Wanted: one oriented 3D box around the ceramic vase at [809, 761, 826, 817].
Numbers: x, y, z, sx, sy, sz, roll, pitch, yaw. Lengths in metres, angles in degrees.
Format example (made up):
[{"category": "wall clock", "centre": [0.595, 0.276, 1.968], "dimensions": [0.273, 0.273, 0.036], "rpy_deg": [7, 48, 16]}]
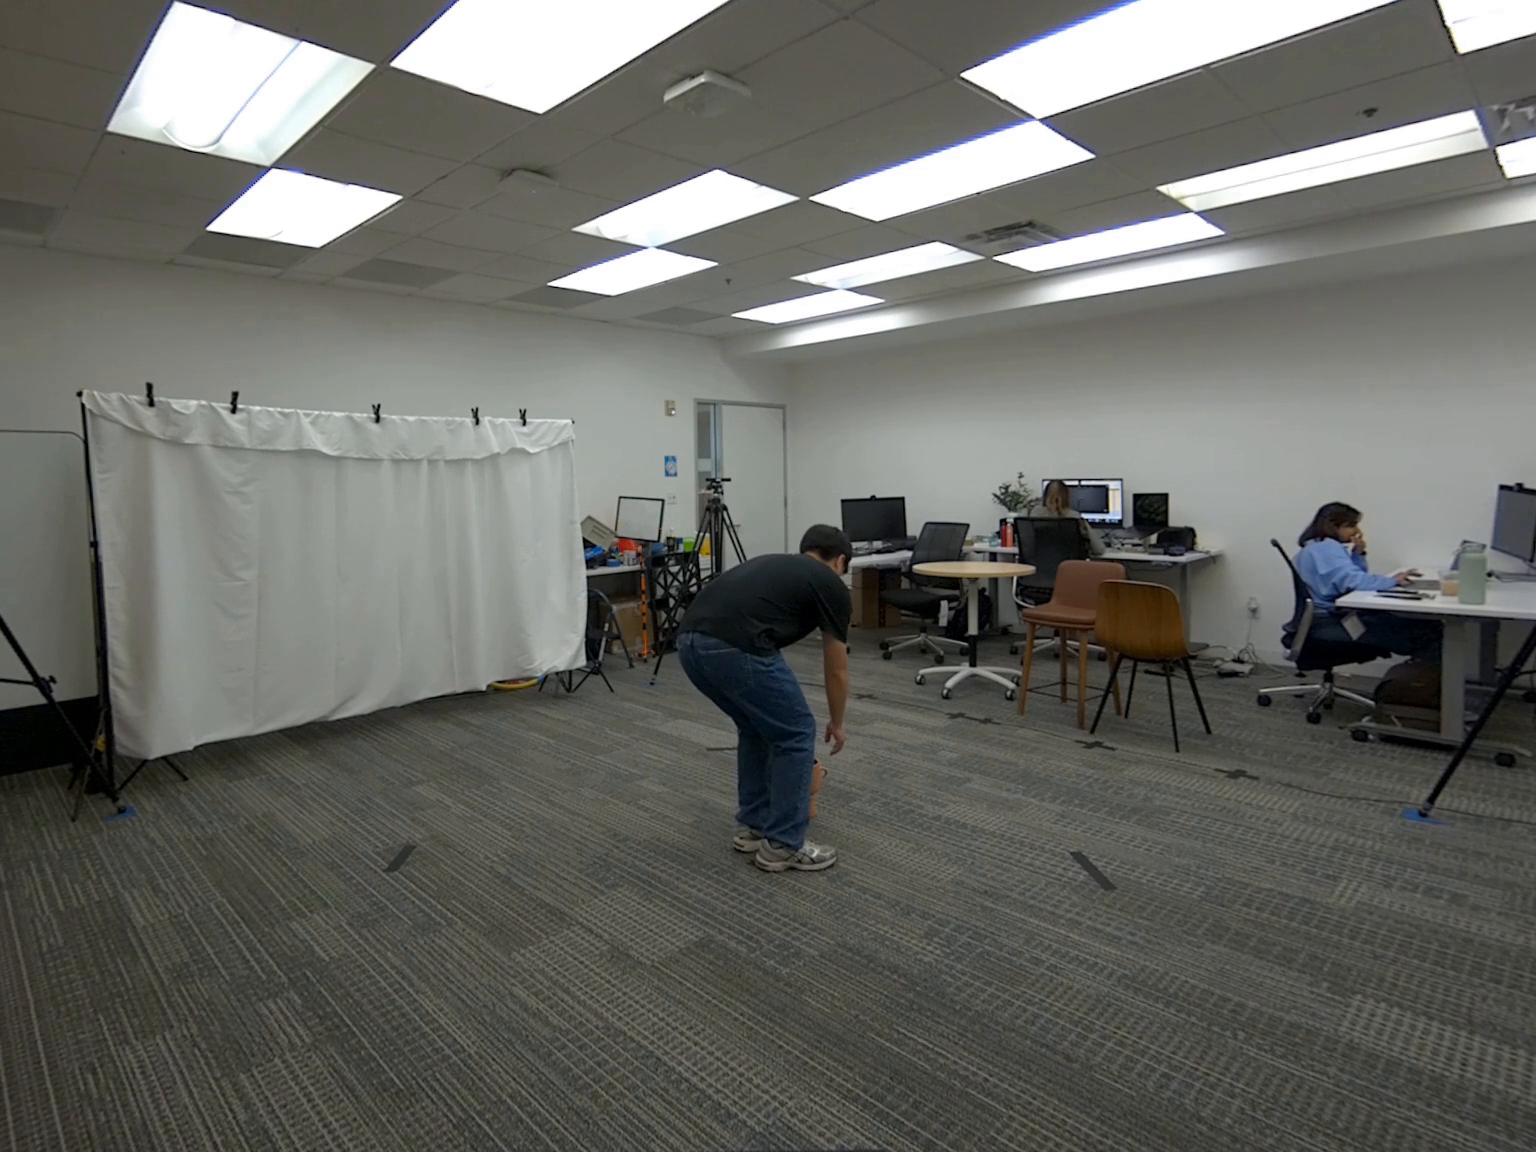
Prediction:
[{"category": "ceramic vase", "centre": [0.156, 0.878, 3.550], "dimensions": [0.163, 0.219, 0.131], "rpy_deg": [2, 5, 35]}]
